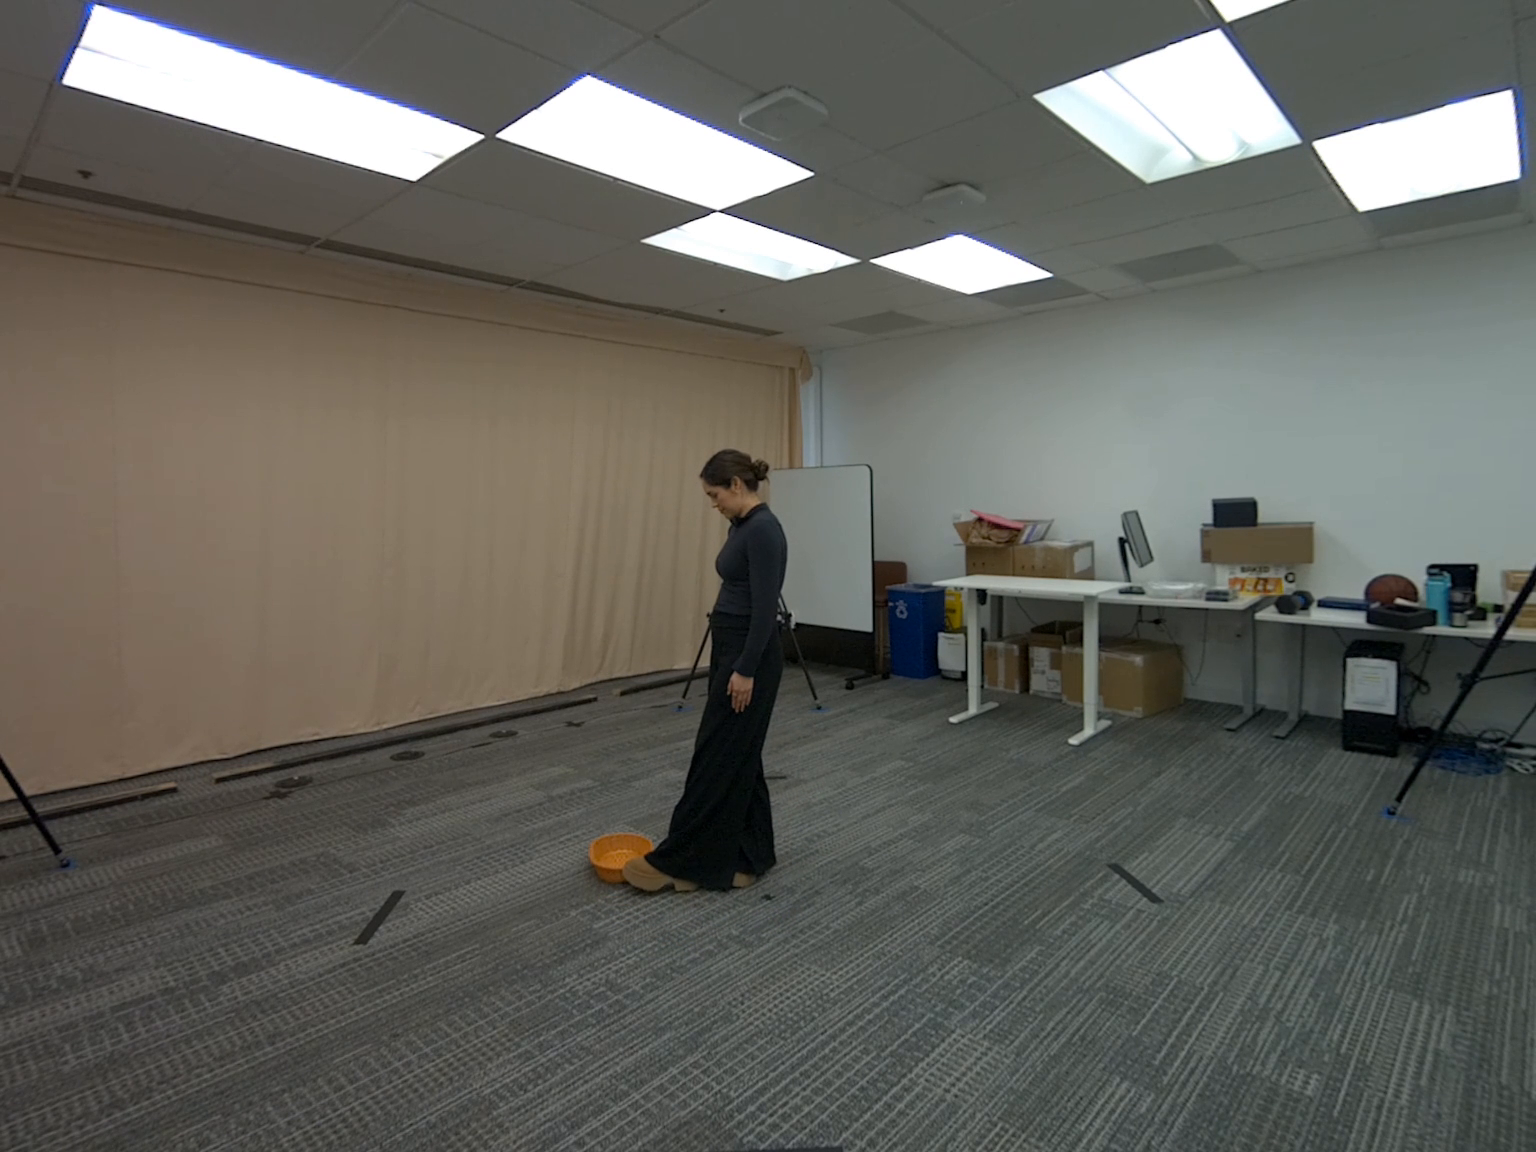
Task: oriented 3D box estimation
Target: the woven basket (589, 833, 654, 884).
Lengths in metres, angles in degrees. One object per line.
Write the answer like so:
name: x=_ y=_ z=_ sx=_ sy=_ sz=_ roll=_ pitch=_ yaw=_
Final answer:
woven basket: x=-0.569 y=1.091 z=3.258 sx=0.250 sy=0.073 sz=0.355 roll=0 pitch=4 yaw=-11
